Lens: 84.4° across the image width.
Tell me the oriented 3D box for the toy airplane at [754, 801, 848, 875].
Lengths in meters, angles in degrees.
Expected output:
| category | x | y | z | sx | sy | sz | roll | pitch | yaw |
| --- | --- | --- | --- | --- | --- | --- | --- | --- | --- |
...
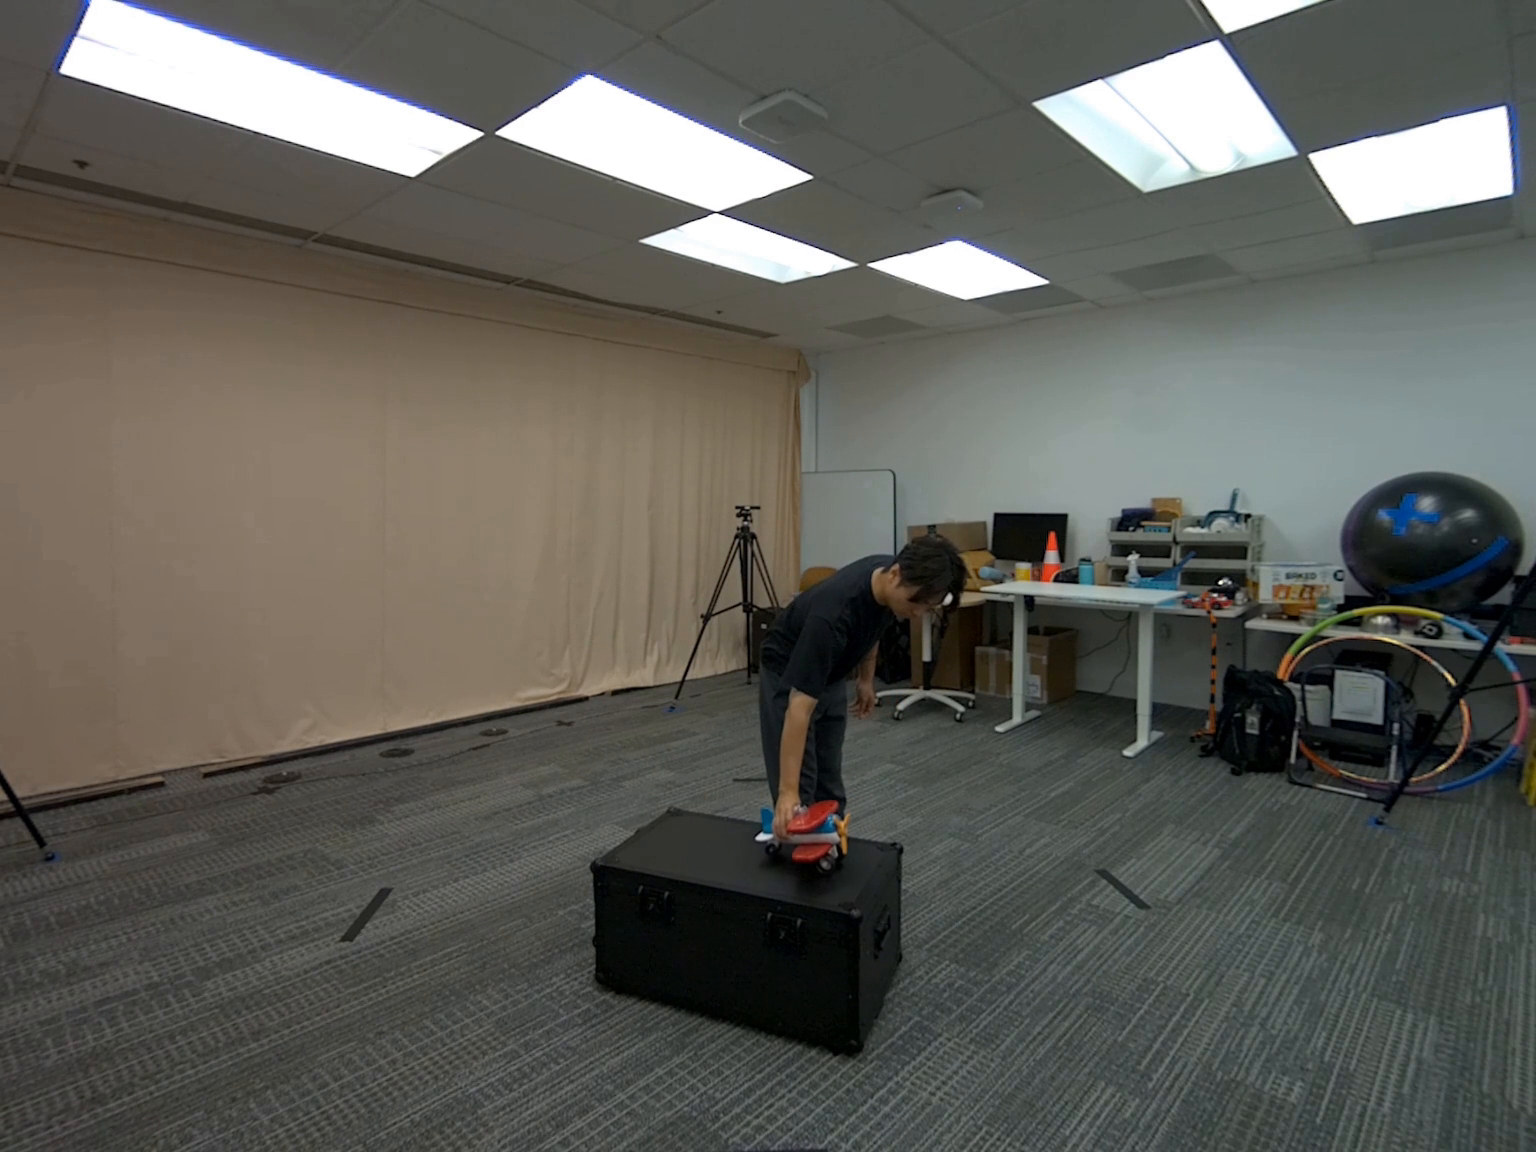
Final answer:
| category | x | y | z | sx | sy | sz | roll | pitch | yaw |
| --- | --- | --- | --- | --- | --- | --- | --- | --- | --- |
| toy airplane | 0.098 | 0.732 | 2.380 | 0.259 | 0.156 | 0.252 | 2 | 3 | -2 |
